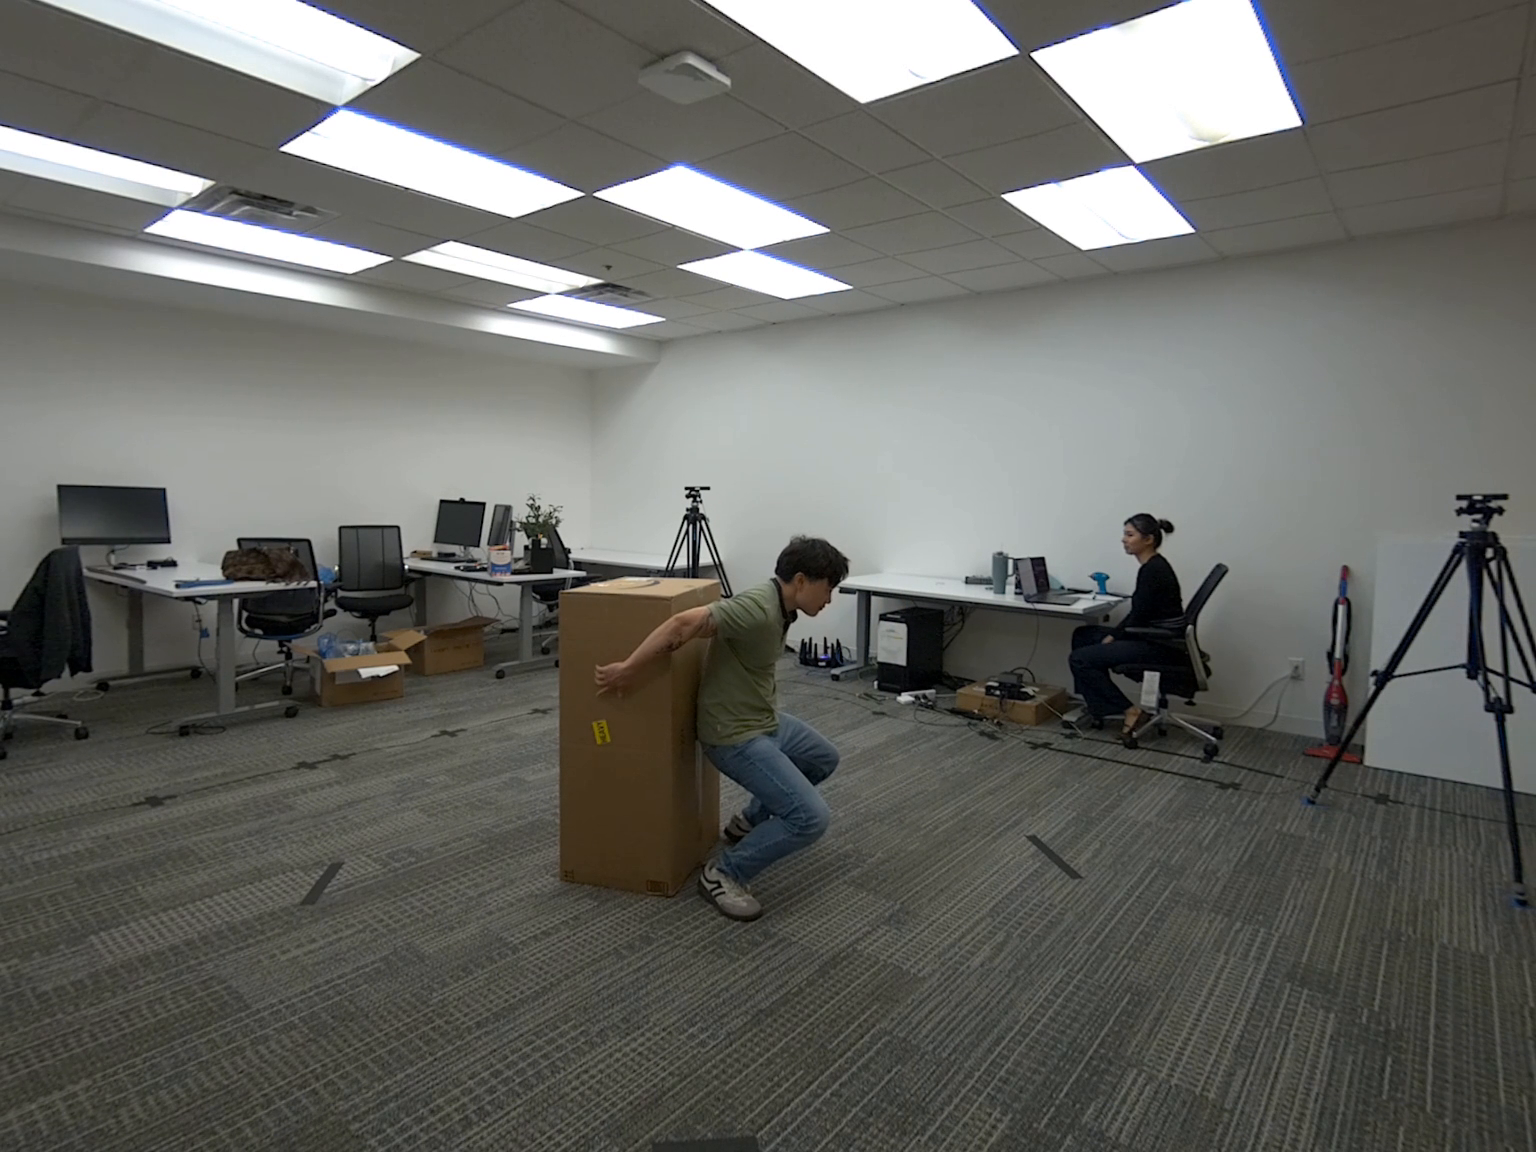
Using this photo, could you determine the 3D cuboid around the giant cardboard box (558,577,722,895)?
[{"bbox_3d":[-0.474,0.539,3.180,0.434,1.023,0.569,1,3,16],"label":"giant cardboard box"}]
